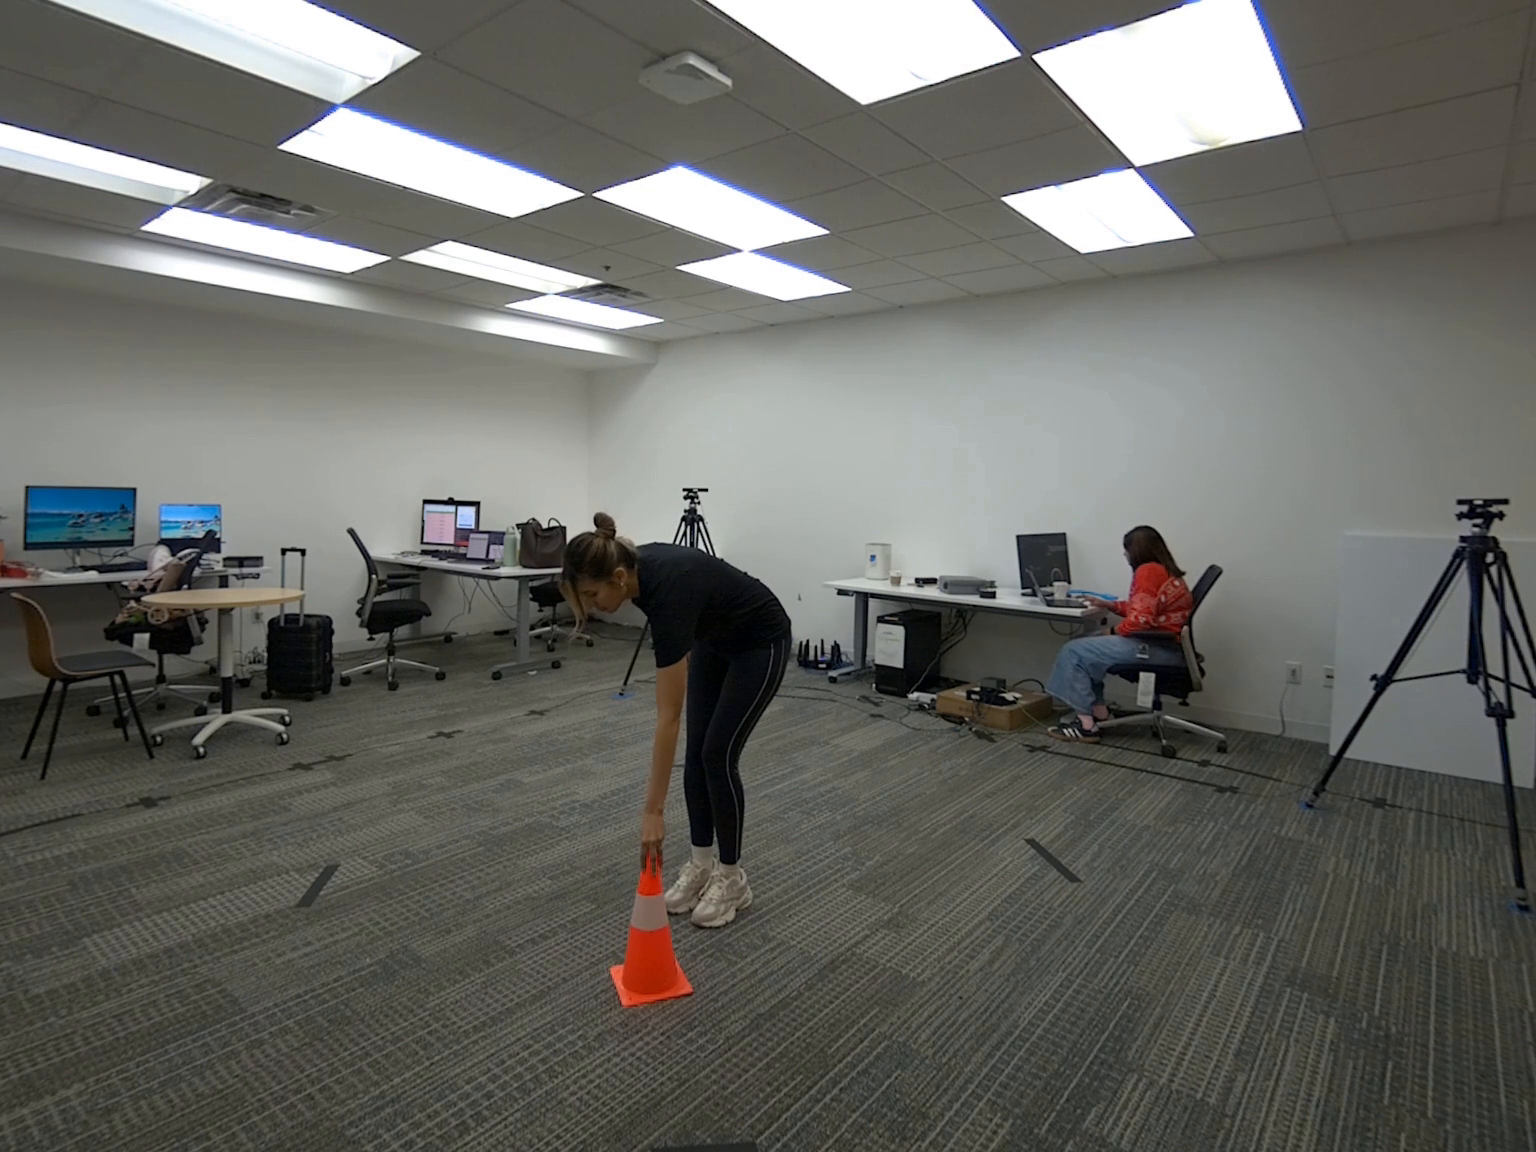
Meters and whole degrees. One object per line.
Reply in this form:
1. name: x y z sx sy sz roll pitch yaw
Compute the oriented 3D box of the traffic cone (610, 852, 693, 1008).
1. traffic cone: -0.341 0.949 2.377 0.199 0.382 0.210 -3 4 -21
